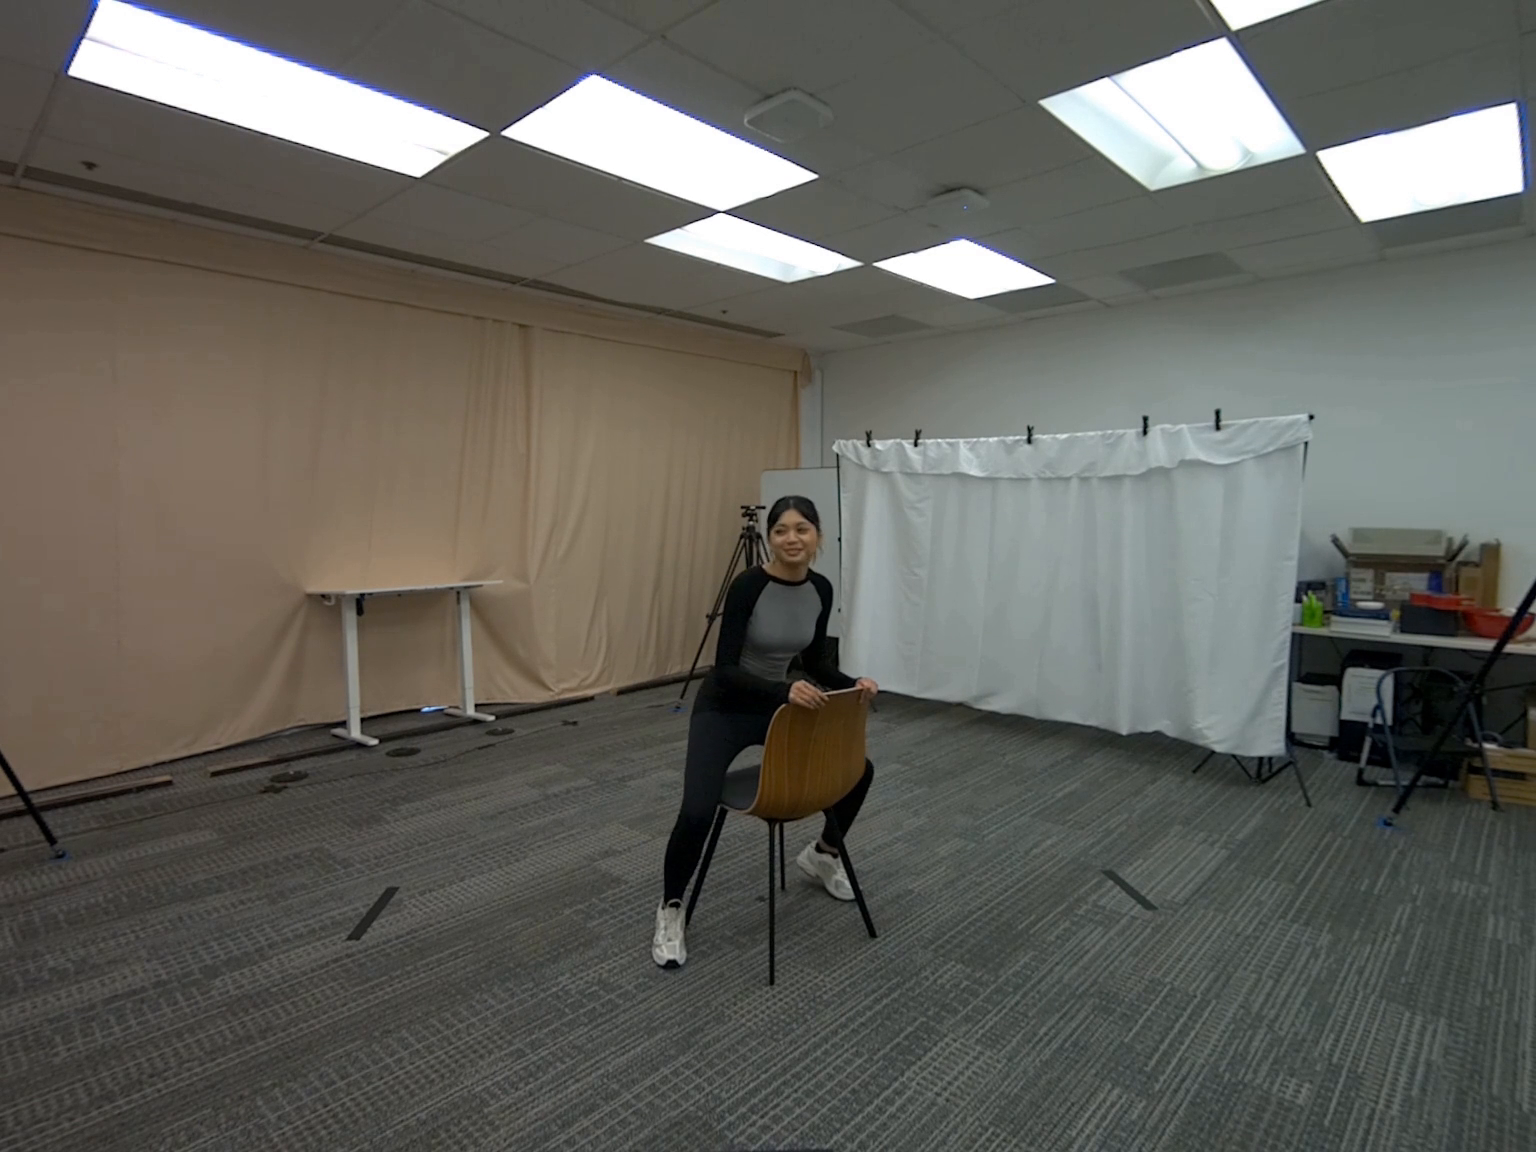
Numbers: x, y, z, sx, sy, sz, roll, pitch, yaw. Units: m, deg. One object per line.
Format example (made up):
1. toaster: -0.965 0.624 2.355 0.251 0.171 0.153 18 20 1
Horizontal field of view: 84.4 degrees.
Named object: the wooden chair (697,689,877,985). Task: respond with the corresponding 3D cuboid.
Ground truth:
1. wooden chair: 0.028 0.738 2.731 0.464 0.874 0.541 -3 9 -38
